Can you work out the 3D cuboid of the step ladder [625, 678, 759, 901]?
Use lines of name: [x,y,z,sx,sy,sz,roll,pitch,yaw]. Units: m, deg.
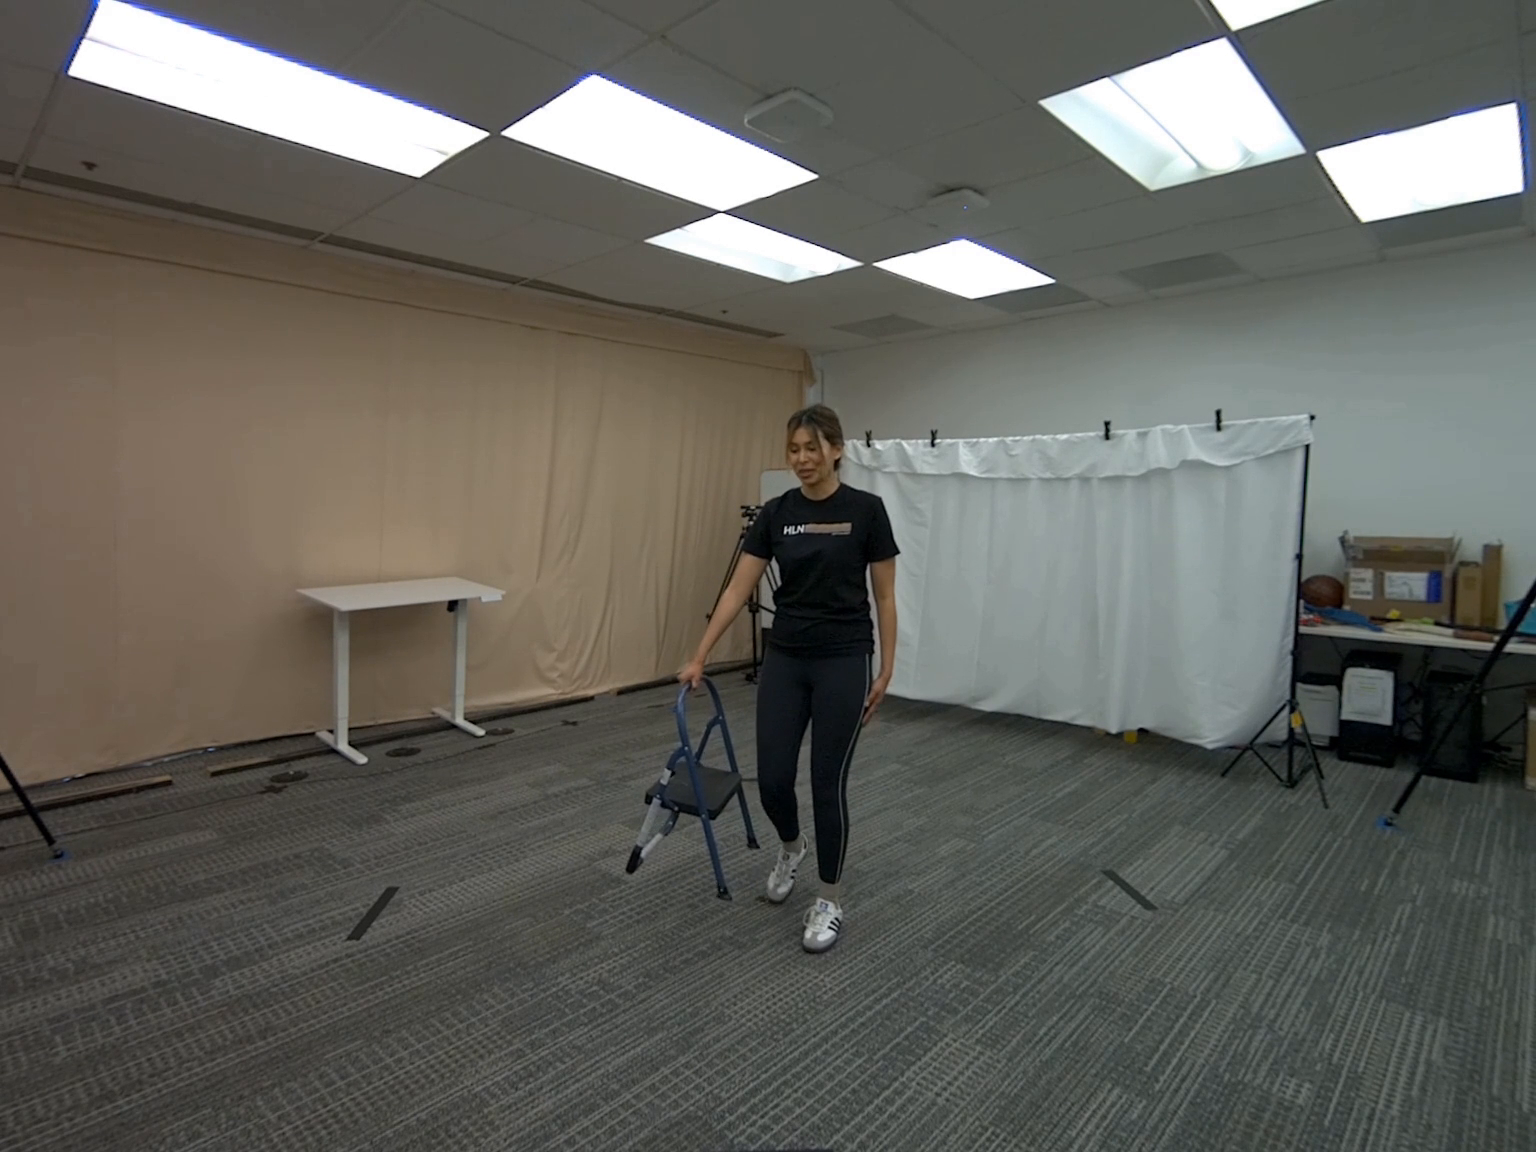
step ladder: [-0.209,0.659,2.797,0.355,0.604,0.425,8,5,13]
